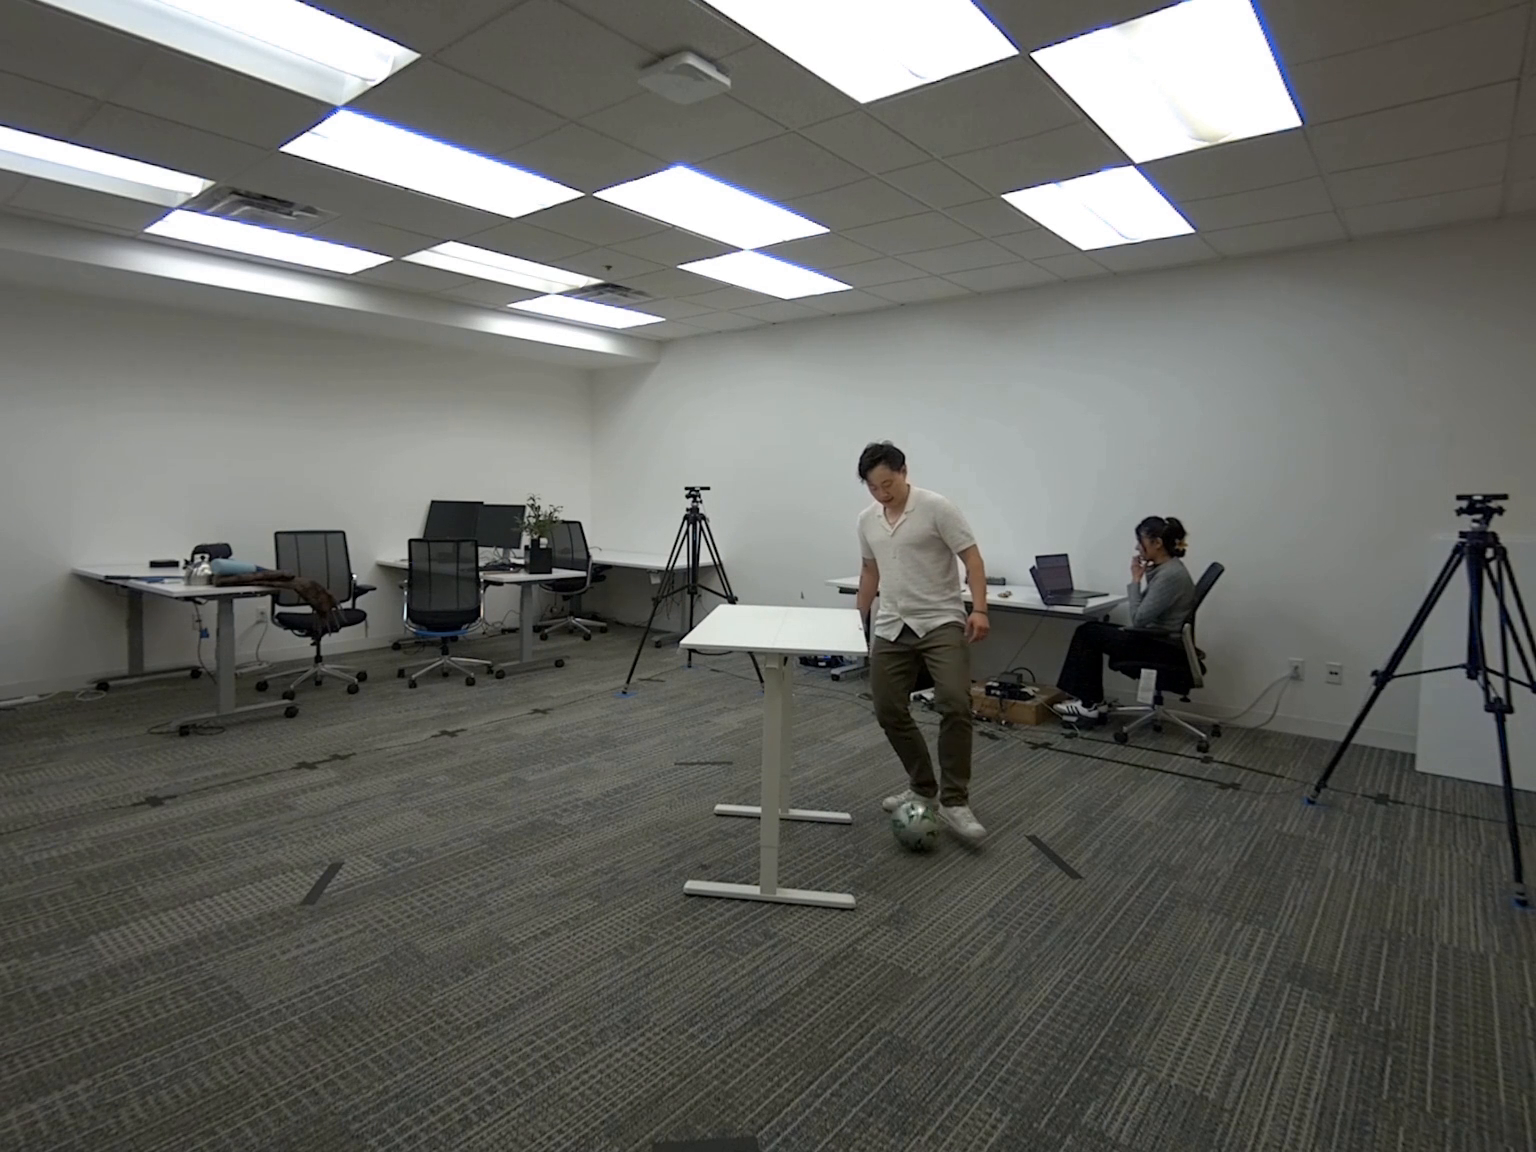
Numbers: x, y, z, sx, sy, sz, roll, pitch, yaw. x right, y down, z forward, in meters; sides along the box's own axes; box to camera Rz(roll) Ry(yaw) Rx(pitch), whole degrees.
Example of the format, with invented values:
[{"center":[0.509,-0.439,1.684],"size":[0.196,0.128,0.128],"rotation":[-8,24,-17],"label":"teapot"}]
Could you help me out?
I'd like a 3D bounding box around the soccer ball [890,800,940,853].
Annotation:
[{"center":[0.548,0.961,3.311],"size":[0.187,0.187,0.188],"rotation":[1,4,-2],"label":"soccer ball"}]
